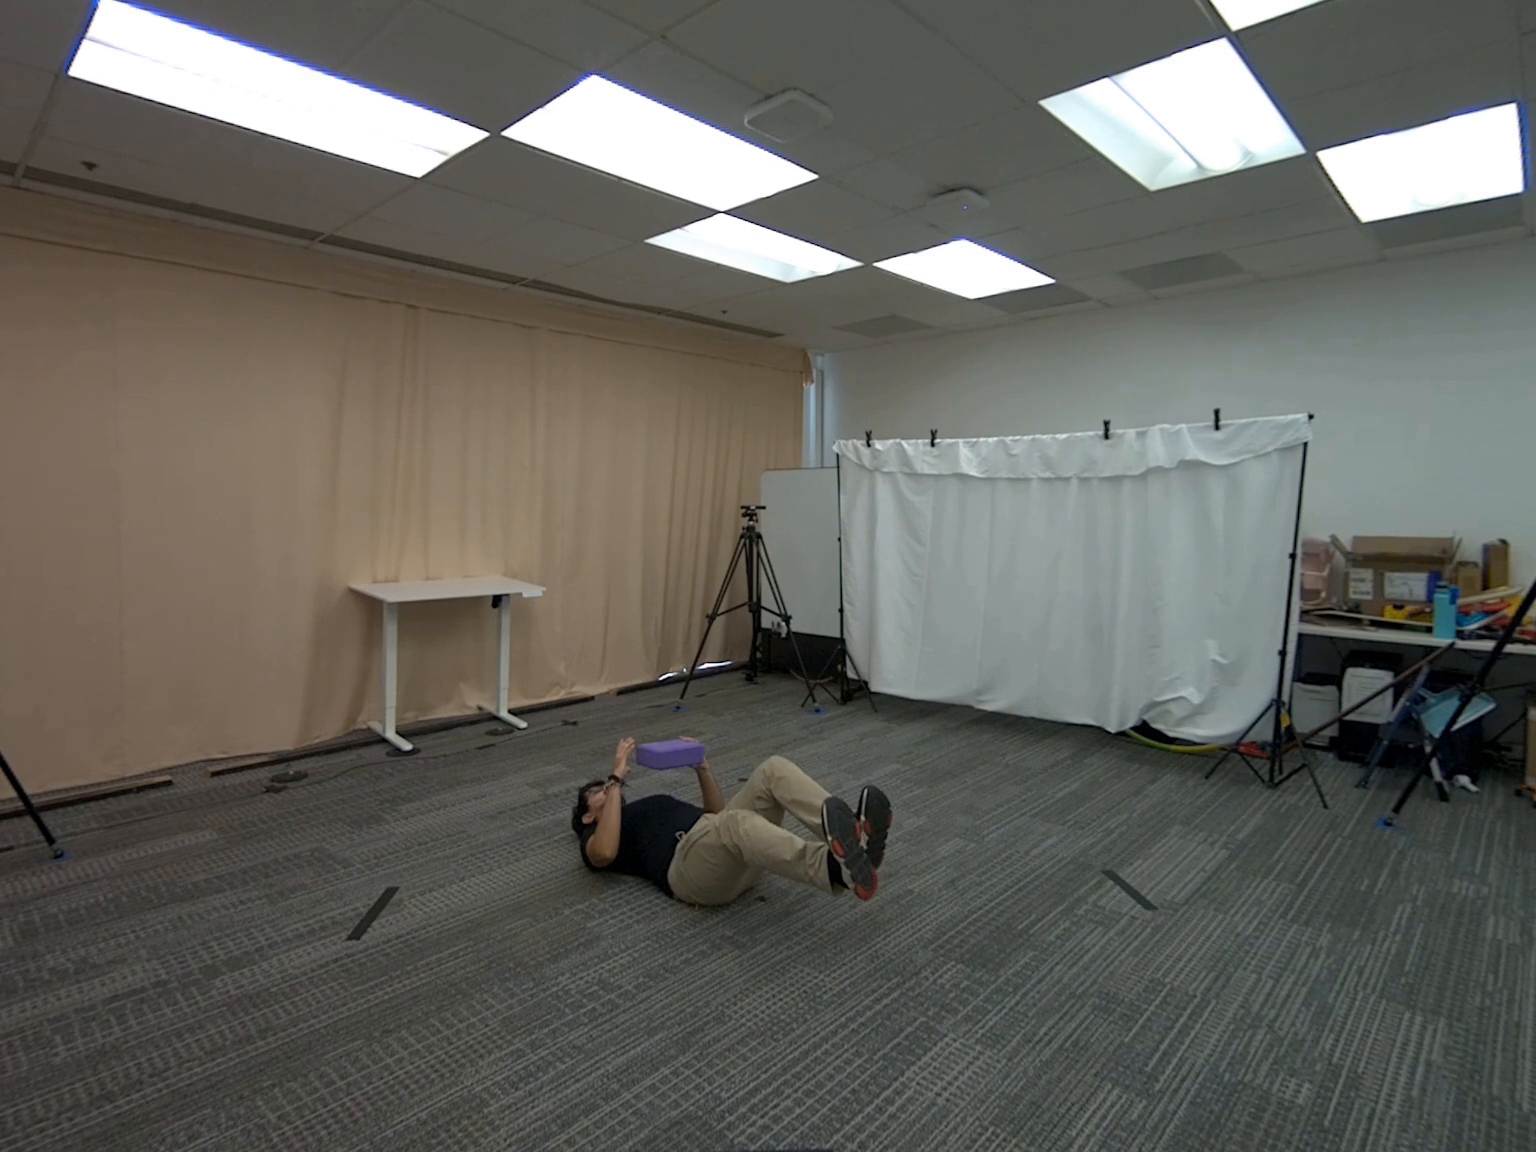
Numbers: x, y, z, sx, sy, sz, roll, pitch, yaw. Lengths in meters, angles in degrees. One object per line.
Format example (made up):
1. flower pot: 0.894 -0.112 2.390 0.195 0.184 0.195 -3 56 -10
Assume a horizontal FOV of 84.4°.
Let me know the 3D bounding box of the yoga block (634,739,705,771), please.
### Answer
1. yoga block: -0.382 0.692 3.238 0.222 0.076 0.154 2 -2 -44
